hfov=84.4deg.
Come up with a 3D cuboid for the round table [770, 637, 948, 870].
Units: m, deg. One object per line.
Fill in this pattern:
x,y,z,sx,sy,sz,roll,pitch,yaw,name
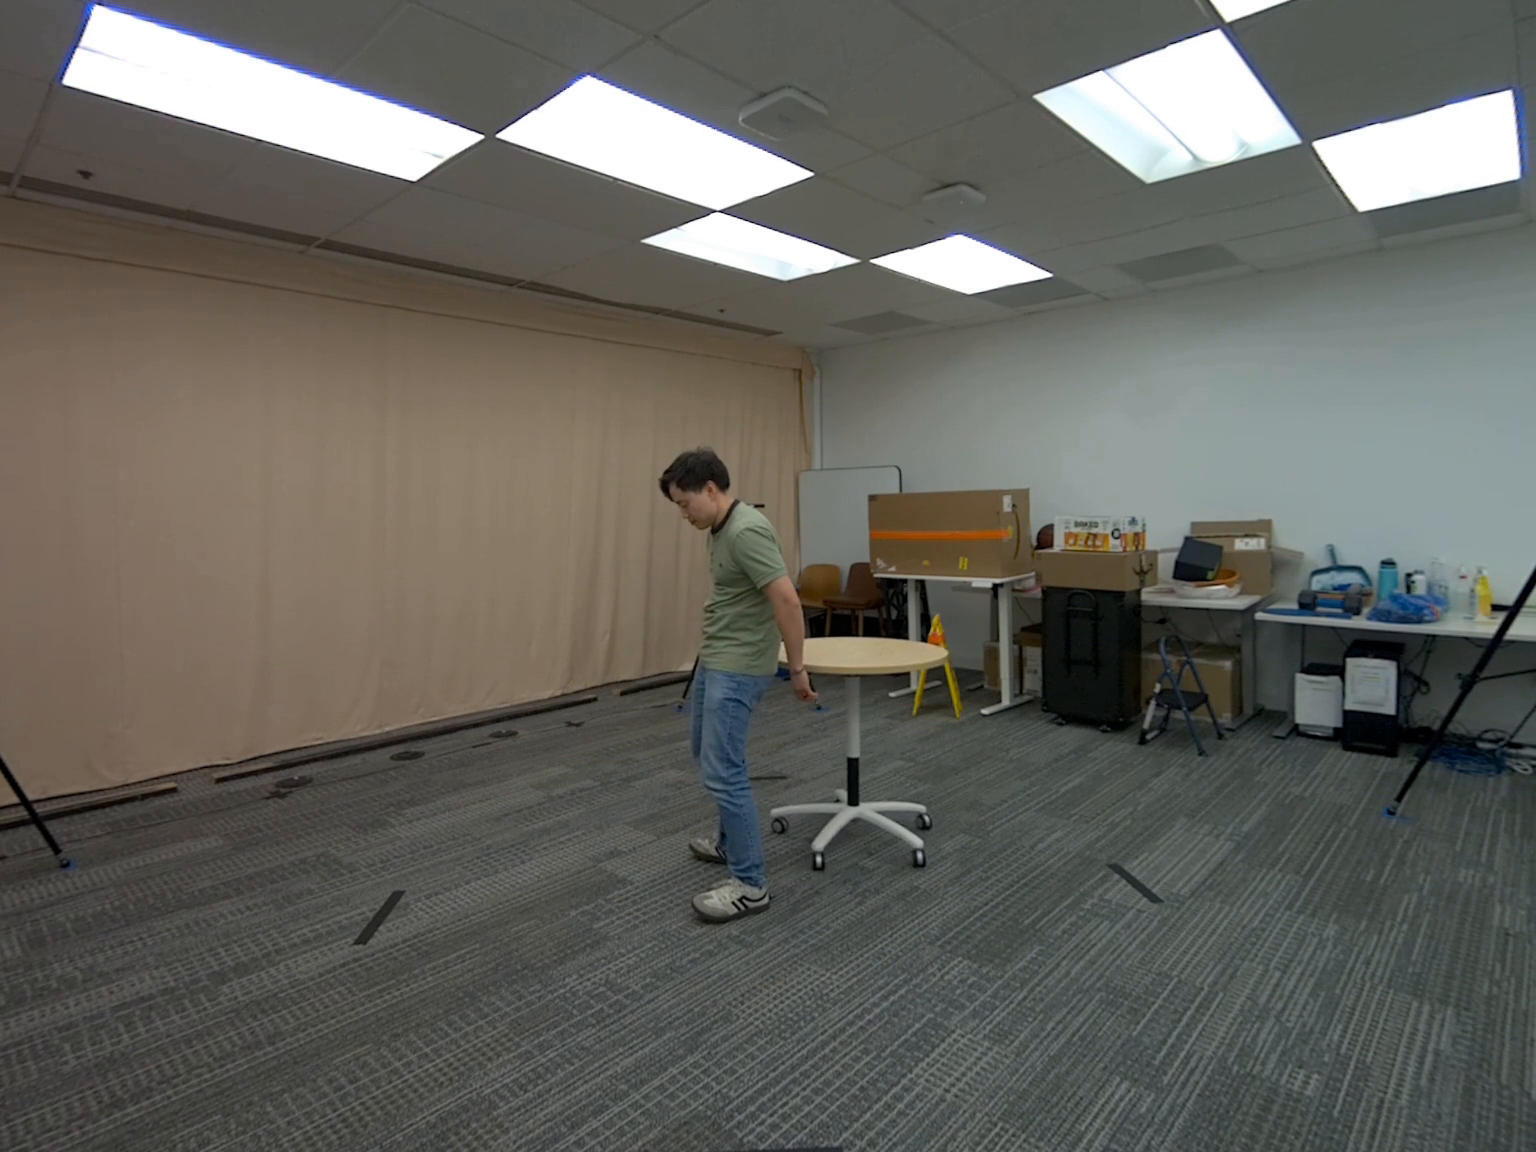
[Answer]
0.346,0.701,3.475,0.763,0.793,0.766,-1,3,-2,round table
